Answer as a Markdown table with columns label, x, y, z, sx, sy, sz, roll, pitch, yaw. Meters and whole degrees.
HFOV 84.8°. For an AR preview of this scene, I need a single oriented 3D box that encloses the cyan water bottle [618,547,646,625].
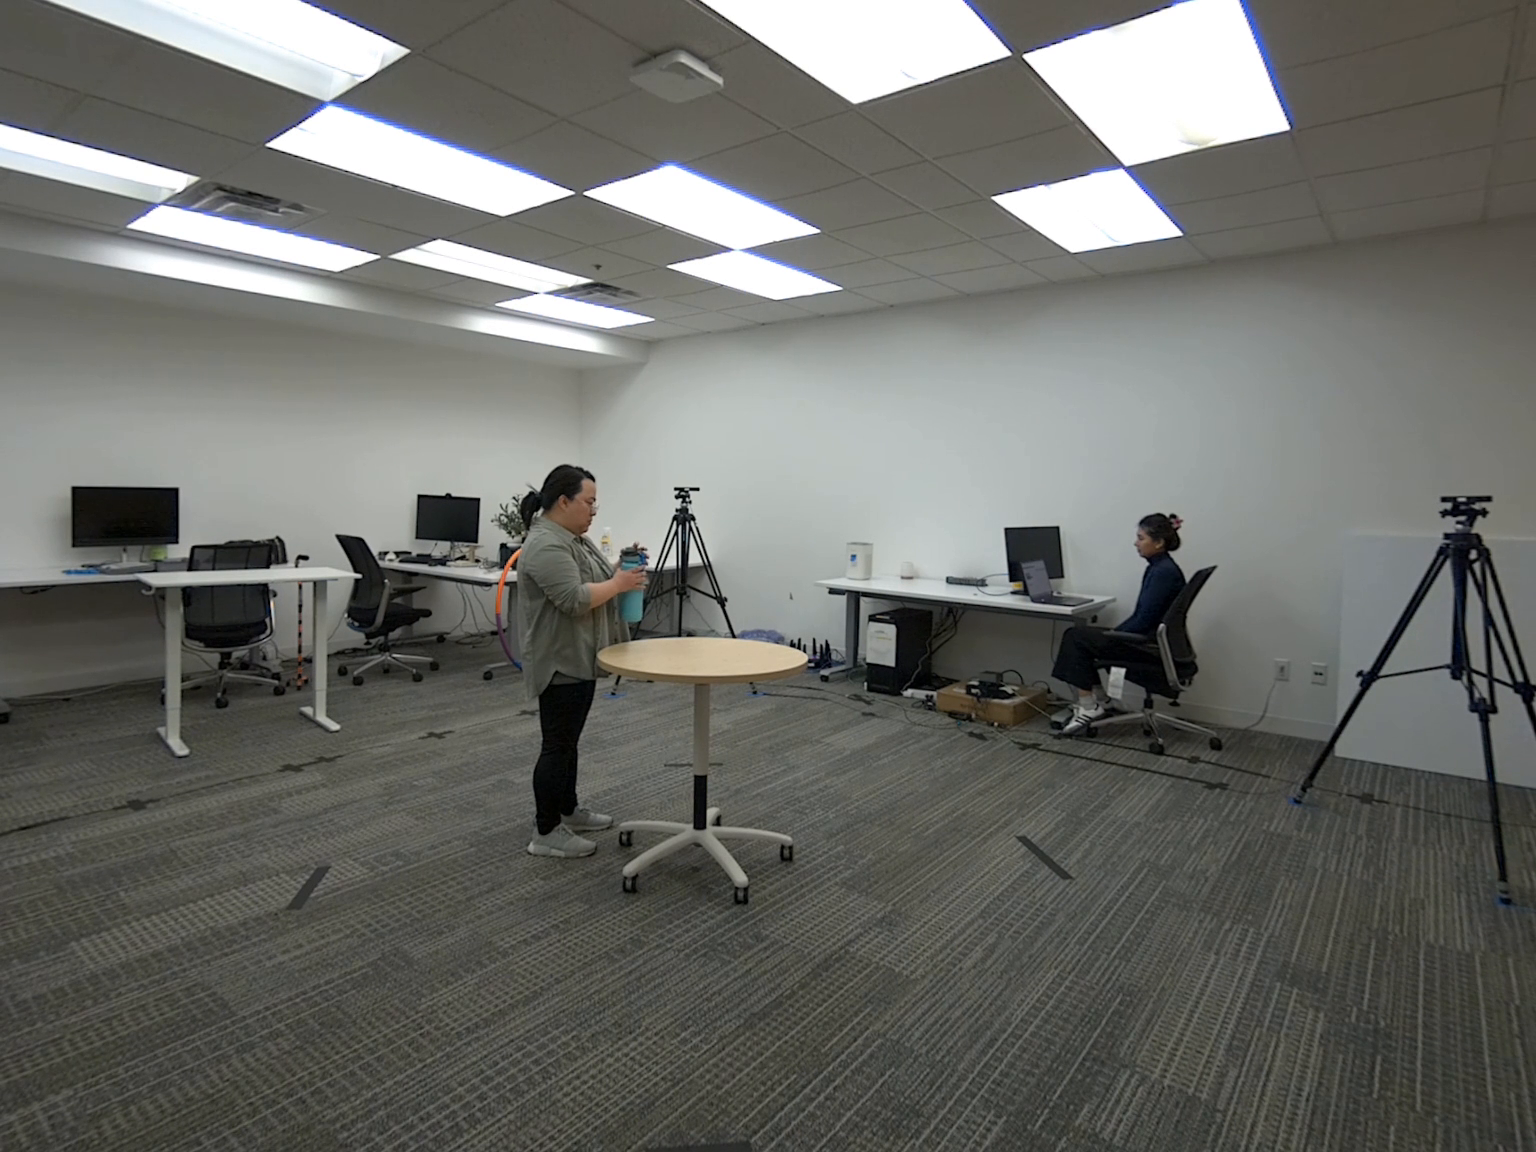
| label | x | y | z | sx | sy | sz | roll | pitch | yaw |
| --- | --- | --- | --- | --- | --- | --- | --- | --- | --- |
| cyan water bottle | -0.549 | 0.026 | 3.322 | 0.092 | 0.282 | 0.093 | 0 | 4 | -2 |
